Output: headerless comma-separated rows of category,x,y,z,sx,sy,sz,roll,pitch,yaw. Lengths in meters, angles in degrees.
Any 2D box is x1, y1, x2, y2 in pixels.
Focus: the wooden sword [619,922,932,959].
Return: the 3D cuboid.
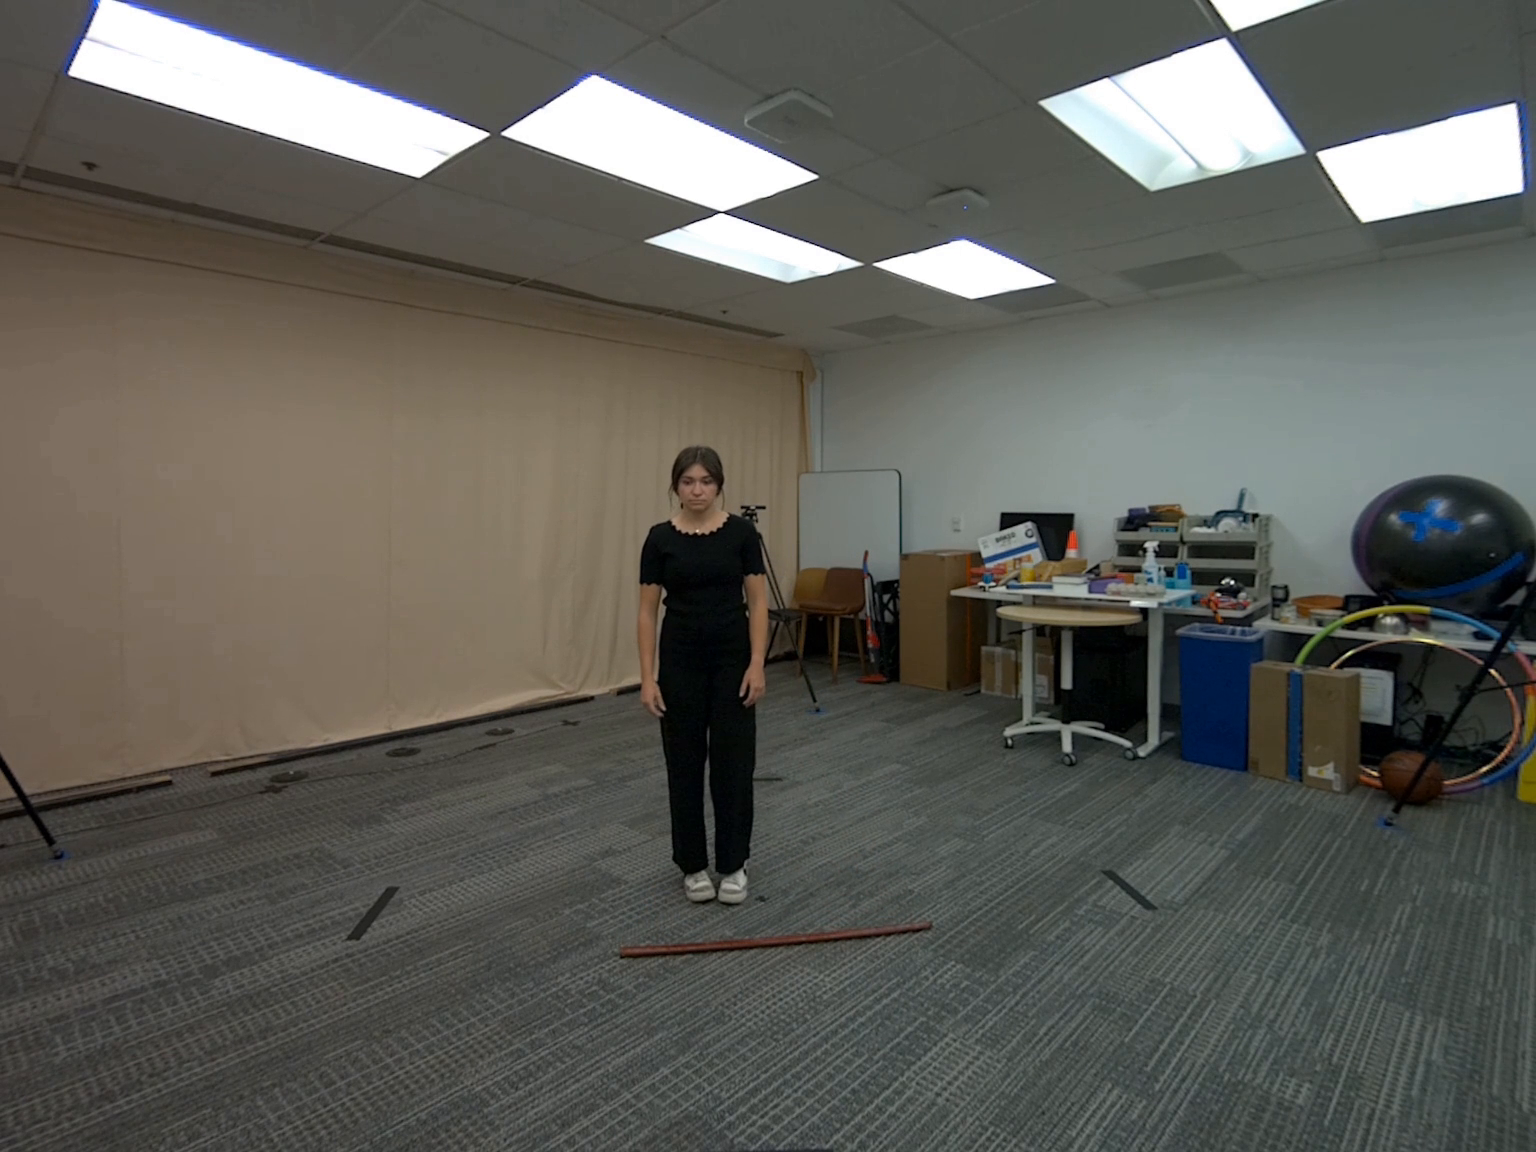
wooden sword,0.052,1.151,2.686,1.015,0.024,0.051,-1,-24,-8
